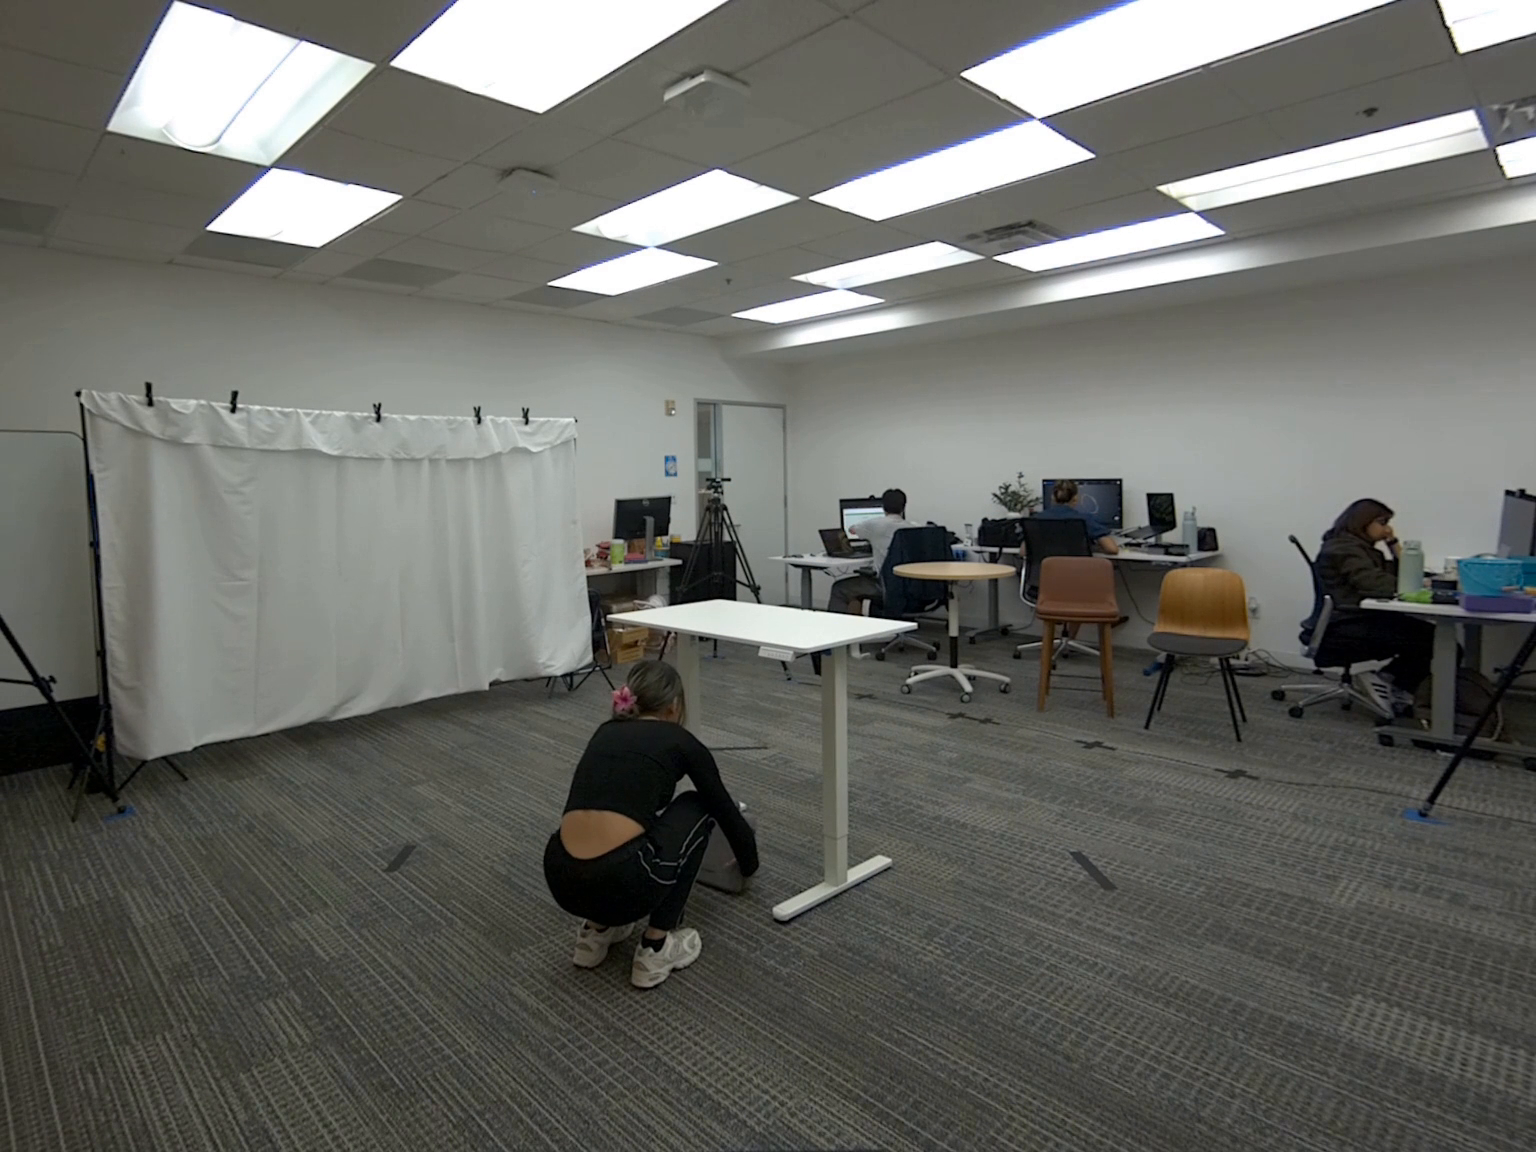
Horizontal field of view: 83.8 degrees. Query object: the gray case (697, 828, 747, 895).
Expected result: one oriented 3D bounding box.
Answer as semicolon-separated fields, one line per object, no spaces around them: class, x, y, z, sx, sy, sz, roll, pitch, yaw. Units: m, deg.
gray case;-0.162;0.933;2.967;0.264;0.262;0.101;2;-6;38
